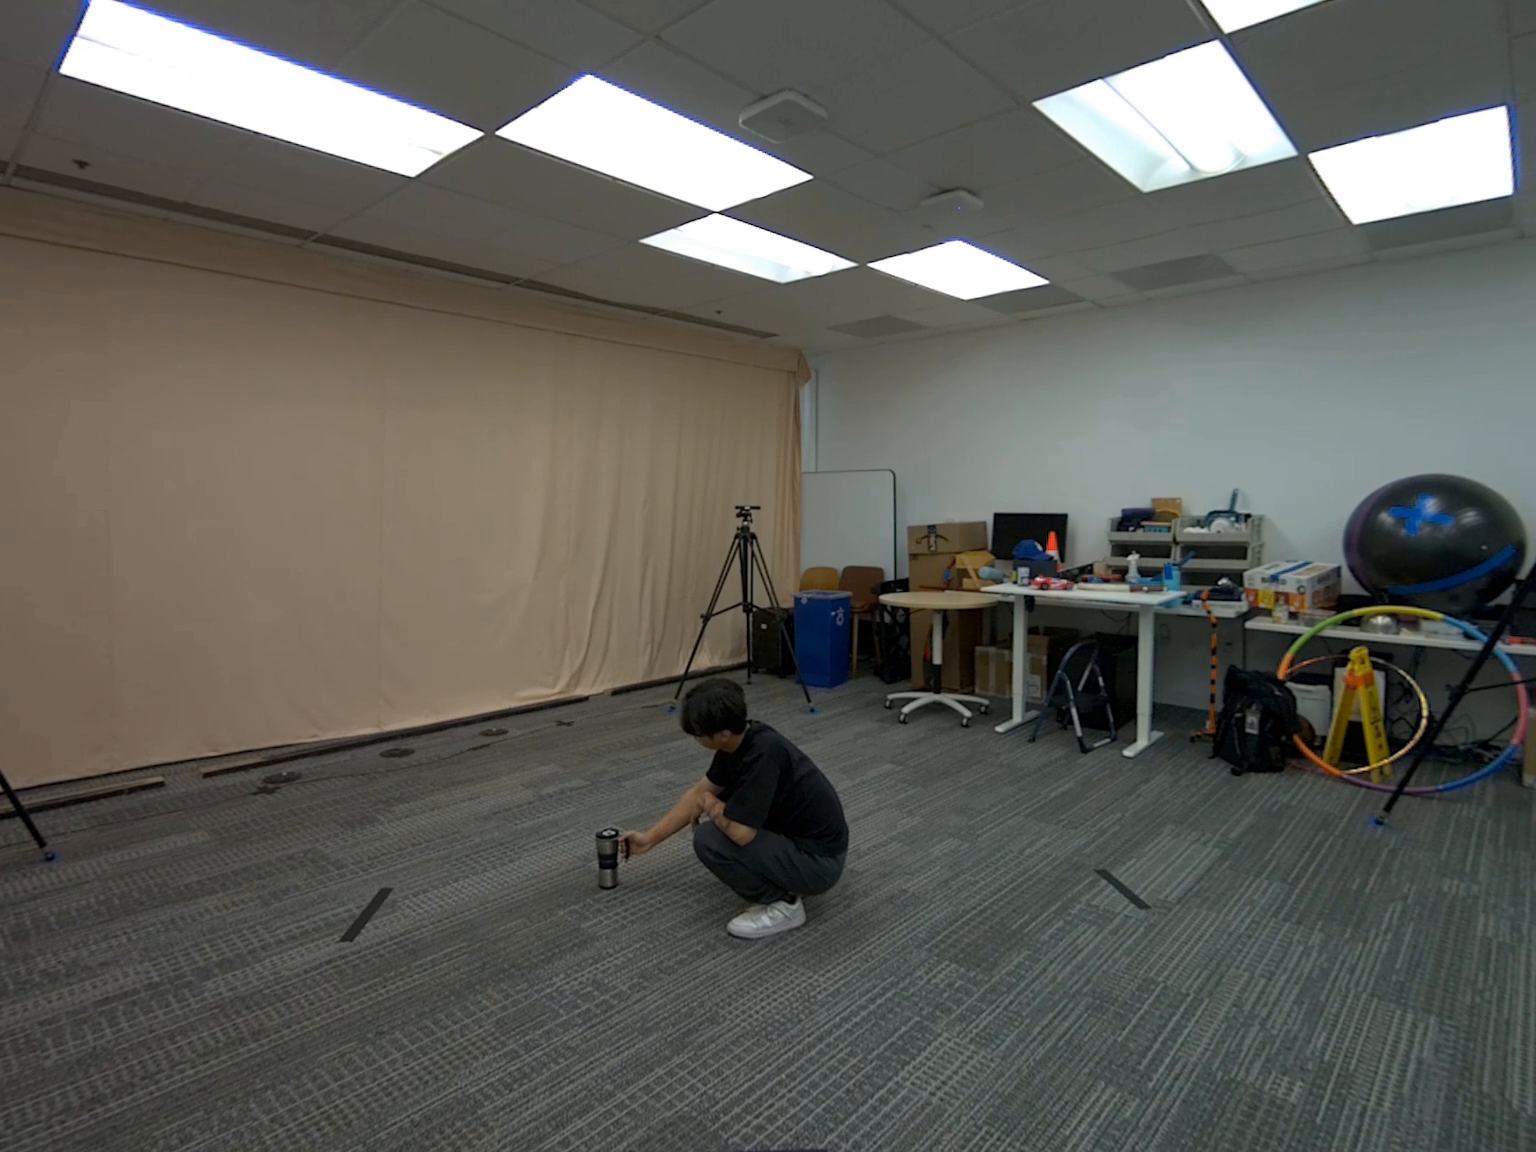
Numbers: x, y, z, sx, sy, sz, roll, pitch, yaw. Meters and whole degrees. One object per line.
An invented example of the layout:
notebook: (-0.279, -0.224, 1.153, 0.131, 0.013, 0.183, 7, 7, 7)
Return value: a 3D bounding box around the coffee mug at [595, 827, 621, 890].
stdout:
coffee mug: (-0.574, 1.047, 3.081, 0.126, 0.203, 0.085, -1, -2, 42)
